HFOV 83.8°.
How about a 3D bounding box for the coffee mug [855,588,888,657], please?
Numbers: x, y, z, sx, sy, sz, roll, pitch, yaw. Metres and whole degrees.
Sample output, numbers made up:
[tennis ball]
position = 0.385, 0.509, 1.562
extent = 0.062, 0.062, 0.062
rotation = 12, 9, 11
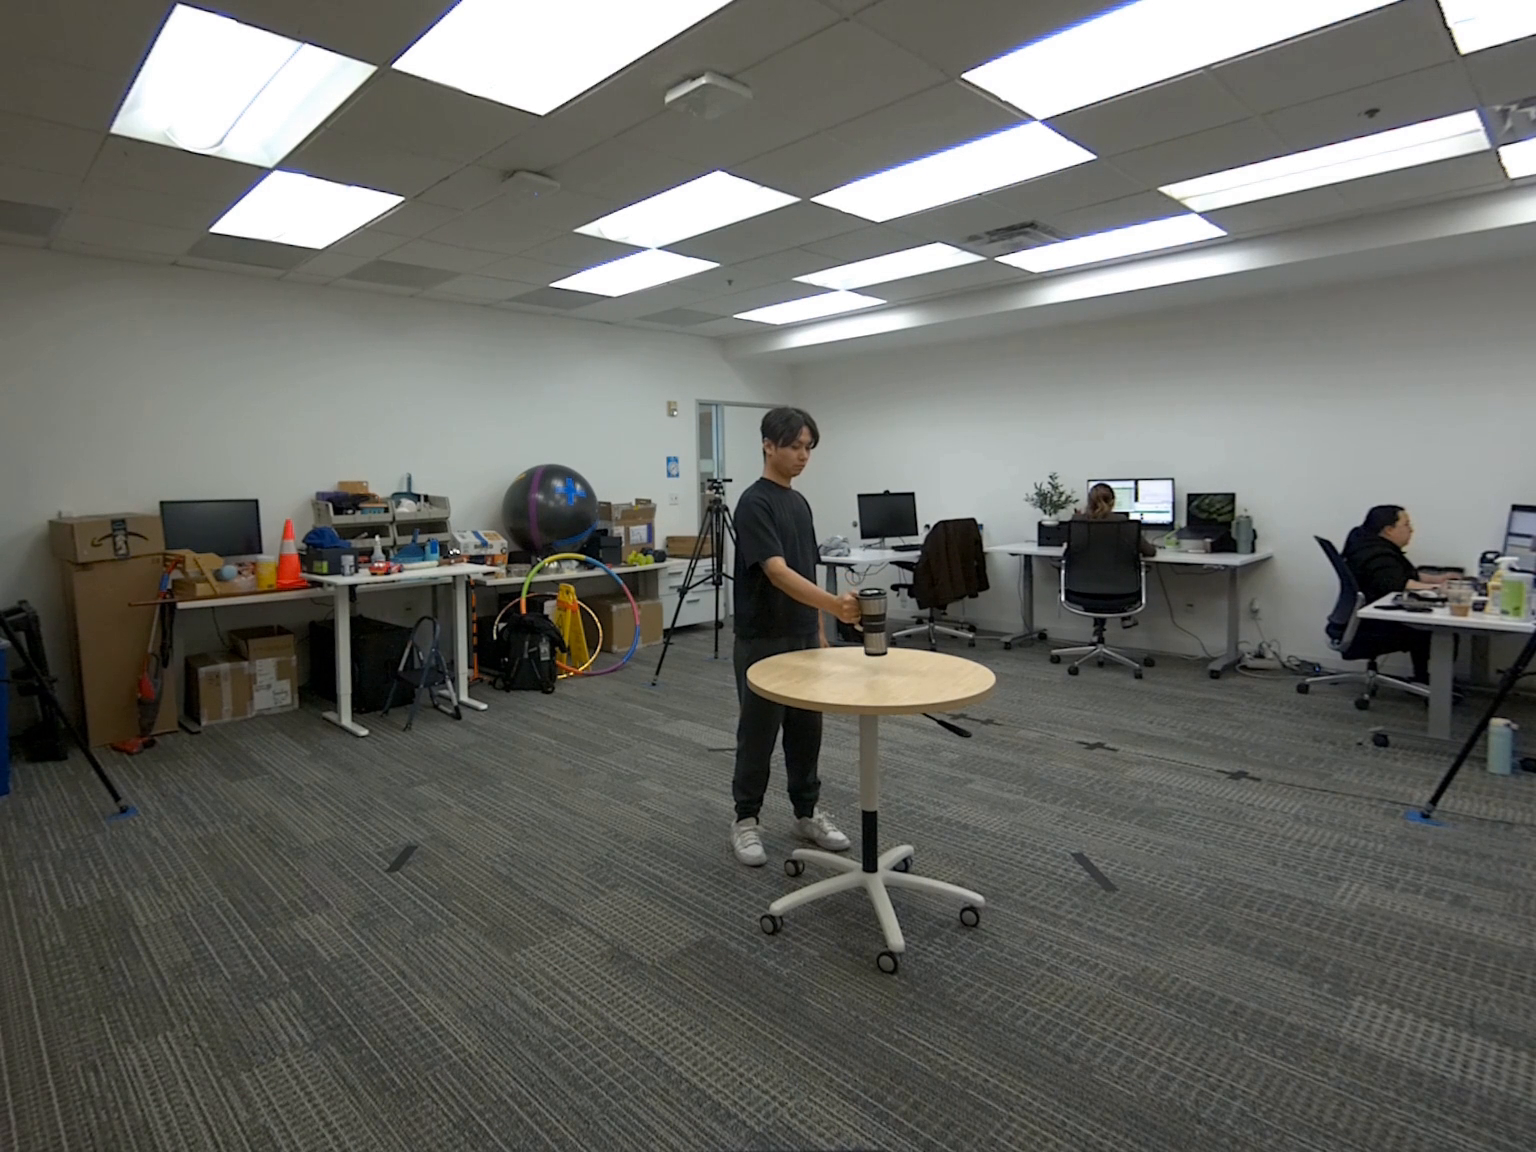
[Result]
[coffee mug]
position = 0.334, 0.147, 2.691
extent = 0.086, 0.202, 0.124
rotation = -9, 7, -19
